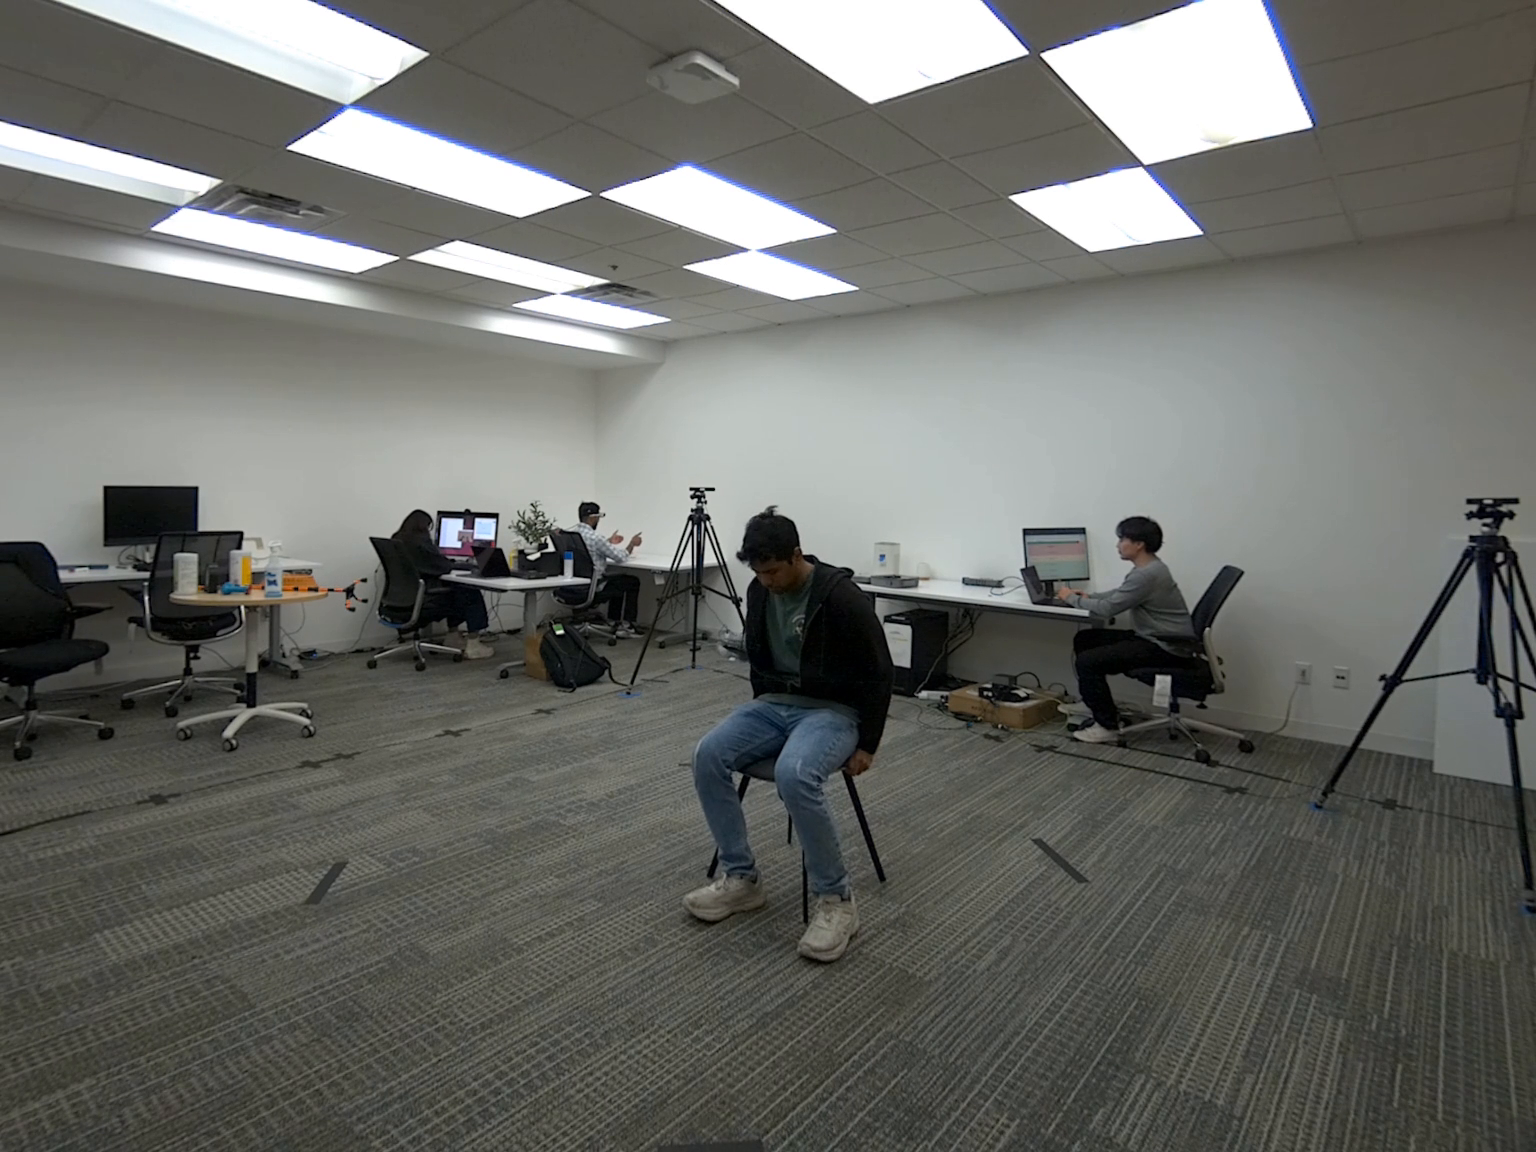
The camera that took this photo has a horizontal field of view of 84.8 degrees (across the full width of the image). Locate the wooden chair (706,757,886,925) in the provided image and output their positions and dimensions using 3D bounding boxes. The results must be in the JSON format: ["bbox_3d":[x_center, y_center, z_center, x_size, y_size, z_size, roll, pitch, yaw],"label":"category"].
[{"bbox_3d":[0.096,0.656,3.011,0.495,0.877,0.506,5,1,43],"label":"wooden chair"}]
